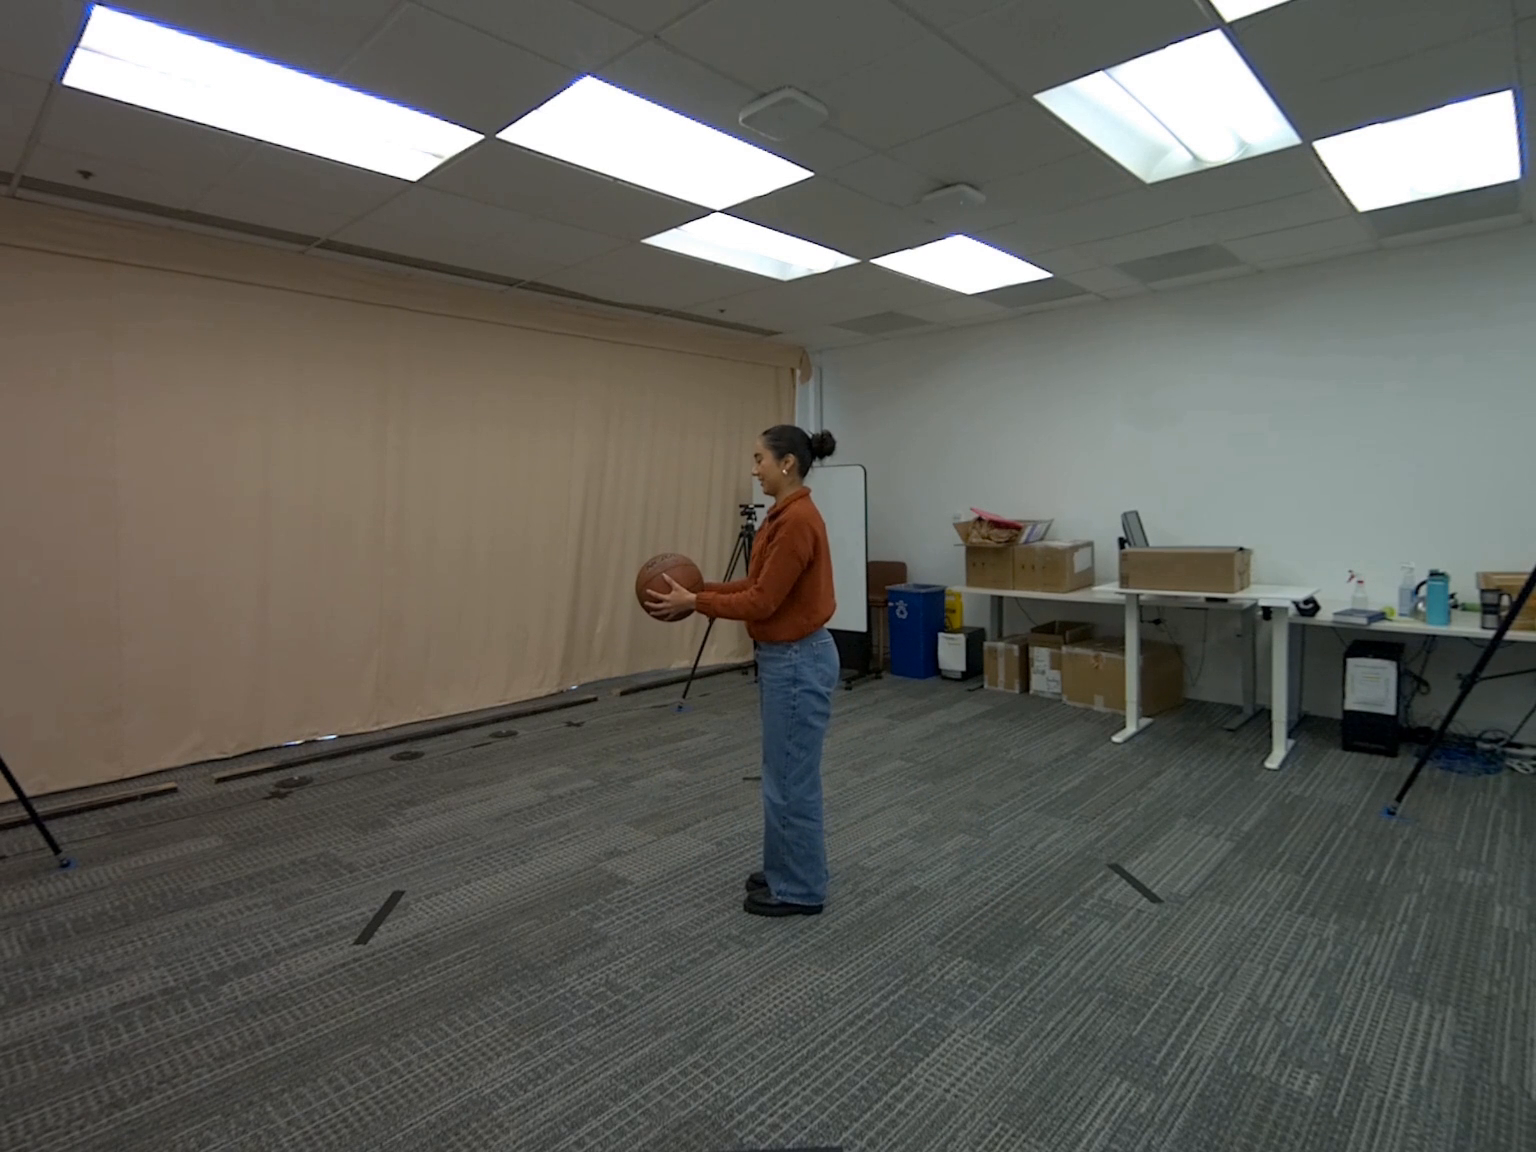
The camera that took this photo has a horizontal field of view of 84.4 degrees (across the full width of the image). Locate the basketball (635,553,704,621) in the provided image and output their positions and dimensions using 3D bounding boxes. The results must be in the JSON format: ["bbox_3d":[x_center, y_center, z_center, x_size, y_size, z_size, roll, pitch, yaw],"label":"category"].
[{"bbox_3d":[-0.334,0.039,2.887,0.236,0.235,0.237,-1,4,-2],"label":"basketball"}]
